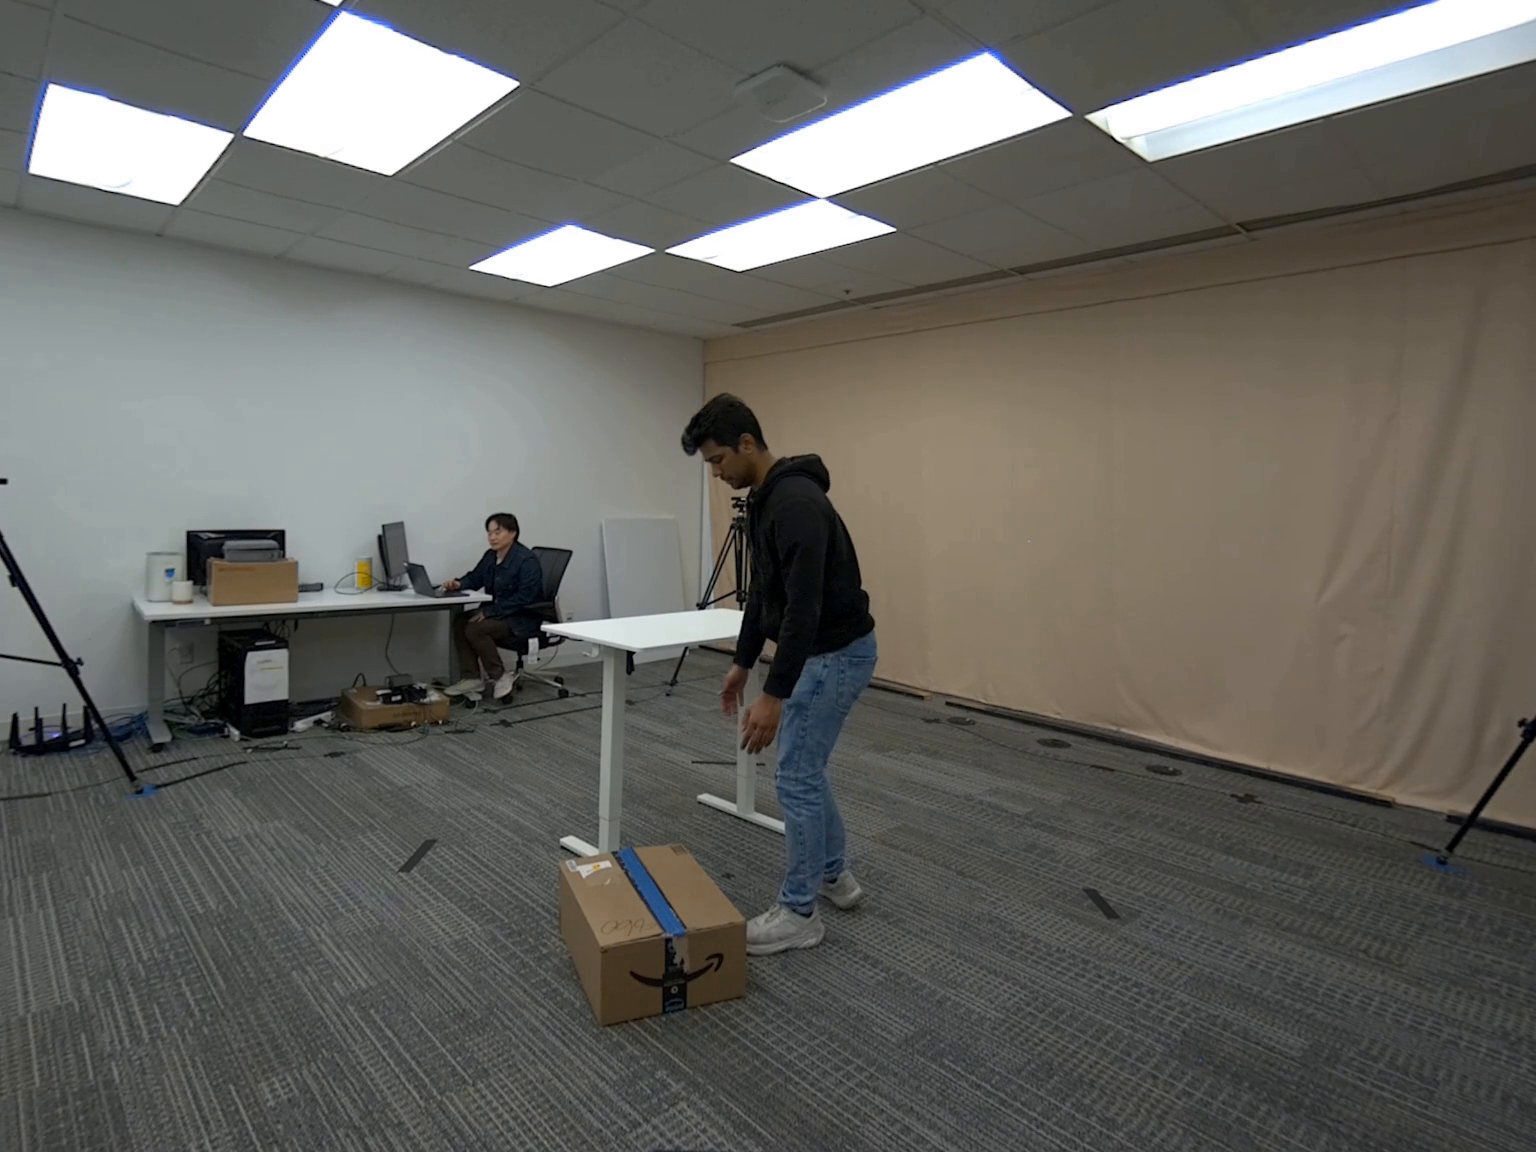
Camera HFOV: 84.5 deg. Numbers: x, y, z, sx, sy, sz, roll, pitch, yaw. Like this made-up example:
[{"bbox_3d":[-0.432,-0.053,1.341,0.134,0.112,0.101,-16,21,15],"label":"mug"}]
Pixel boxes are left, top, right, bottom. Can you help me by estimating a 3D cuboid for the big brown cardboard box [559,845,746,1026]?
[{"bbox_3d":[-0.371,1.043,2.528,0.410,0.232,0.601,-1,6,-24],"label":"big brown cardboard box"}]
